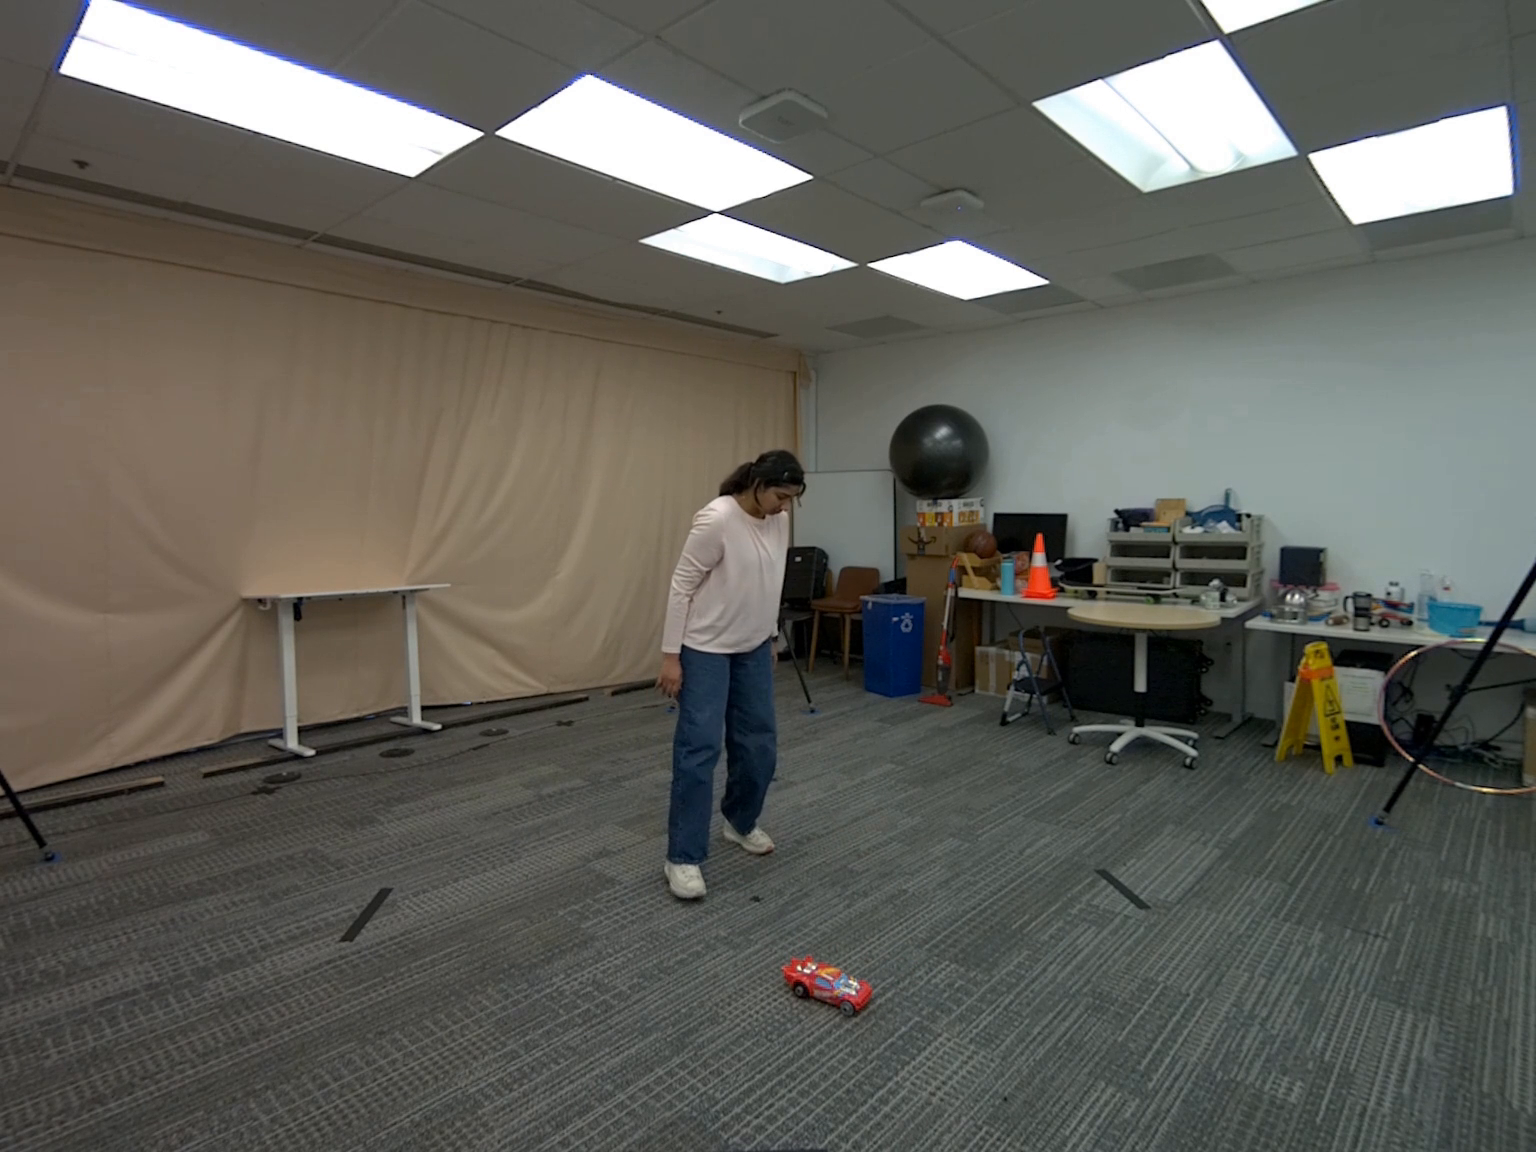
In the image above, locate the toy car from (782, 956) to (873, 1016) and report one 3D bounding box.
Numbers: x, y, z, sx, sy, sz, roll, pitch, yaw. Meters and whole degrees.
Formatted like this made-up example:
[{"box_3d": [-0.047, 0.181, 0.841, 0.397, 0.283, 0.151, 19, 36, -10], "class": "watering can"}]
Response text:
[{"box_3d": [0.169, 1.165, 2.387, 0.263, 0.083, 0.126, 16, 12, 32], "class": "toy car"}]
